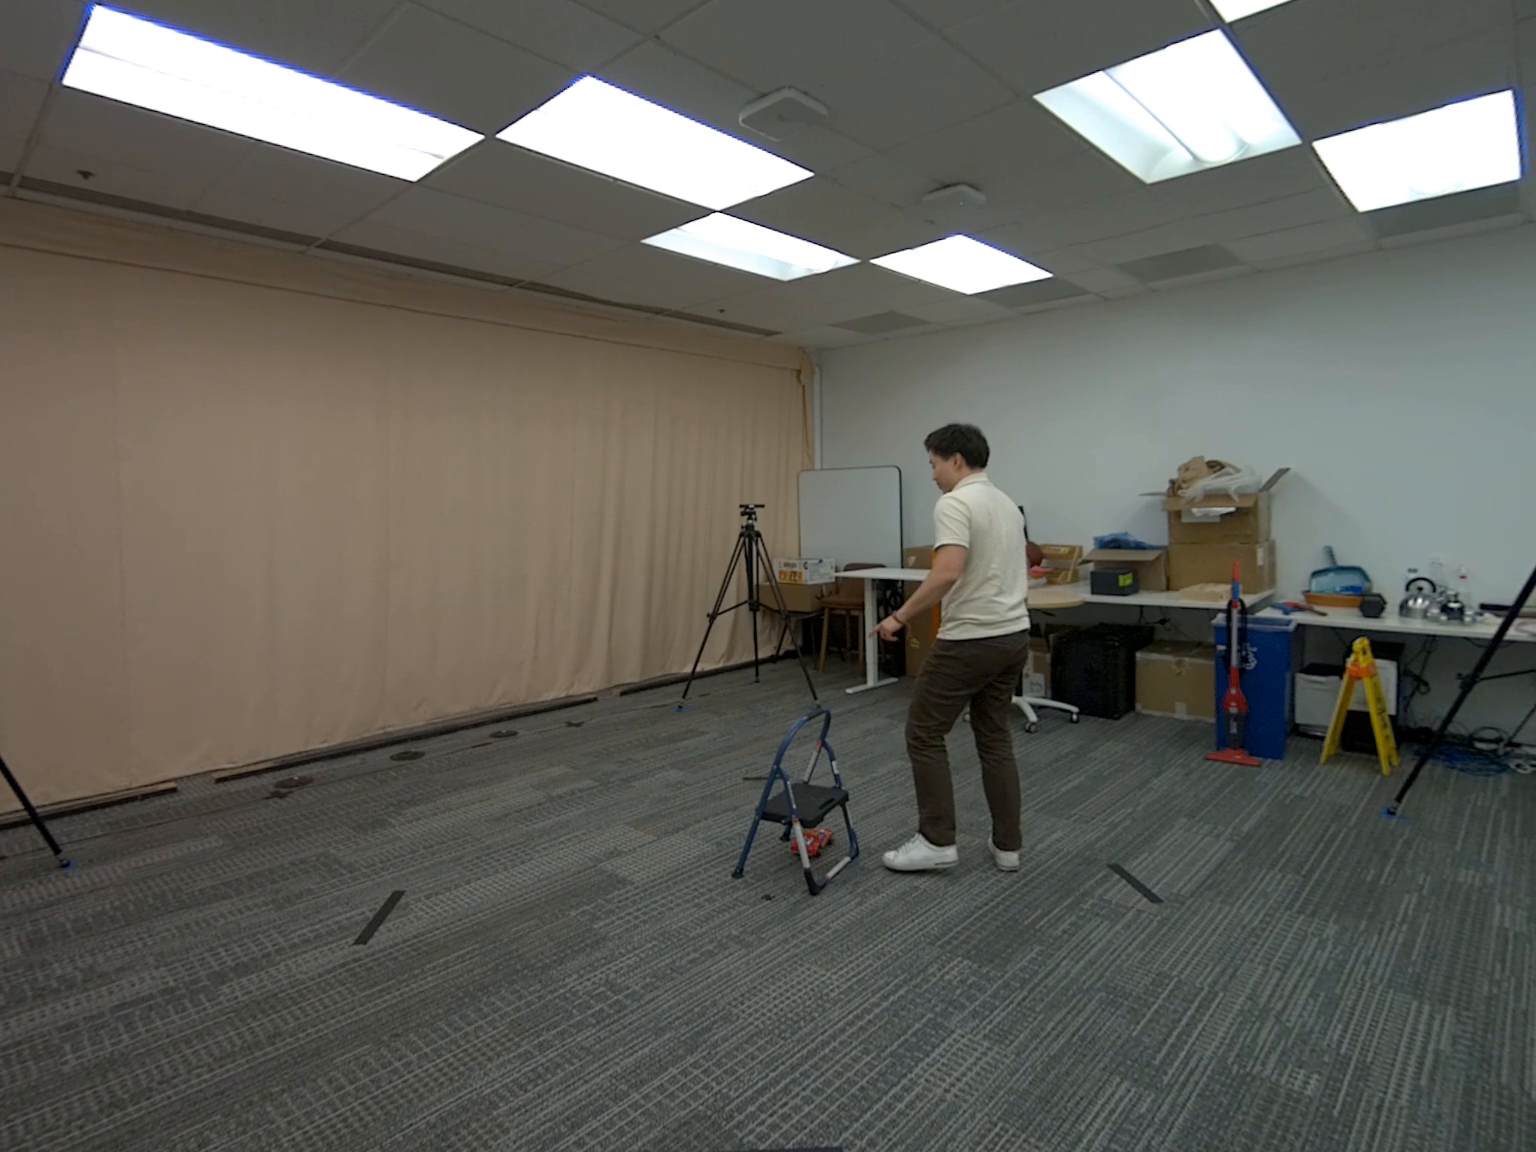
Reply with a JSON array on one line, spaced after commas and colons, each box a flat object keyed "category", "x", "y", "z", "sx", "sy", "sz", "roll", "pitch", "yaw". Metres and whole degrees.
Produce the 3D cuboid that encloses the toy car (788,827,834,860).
[{"category": "toy car", "x": 0.178, "y": 1.073, "z": 3.380, "sx": 0.134, "sy": 0.083, "sz": 0.247, "roll": 1, "pitch": -5, "yaw": 27}]
